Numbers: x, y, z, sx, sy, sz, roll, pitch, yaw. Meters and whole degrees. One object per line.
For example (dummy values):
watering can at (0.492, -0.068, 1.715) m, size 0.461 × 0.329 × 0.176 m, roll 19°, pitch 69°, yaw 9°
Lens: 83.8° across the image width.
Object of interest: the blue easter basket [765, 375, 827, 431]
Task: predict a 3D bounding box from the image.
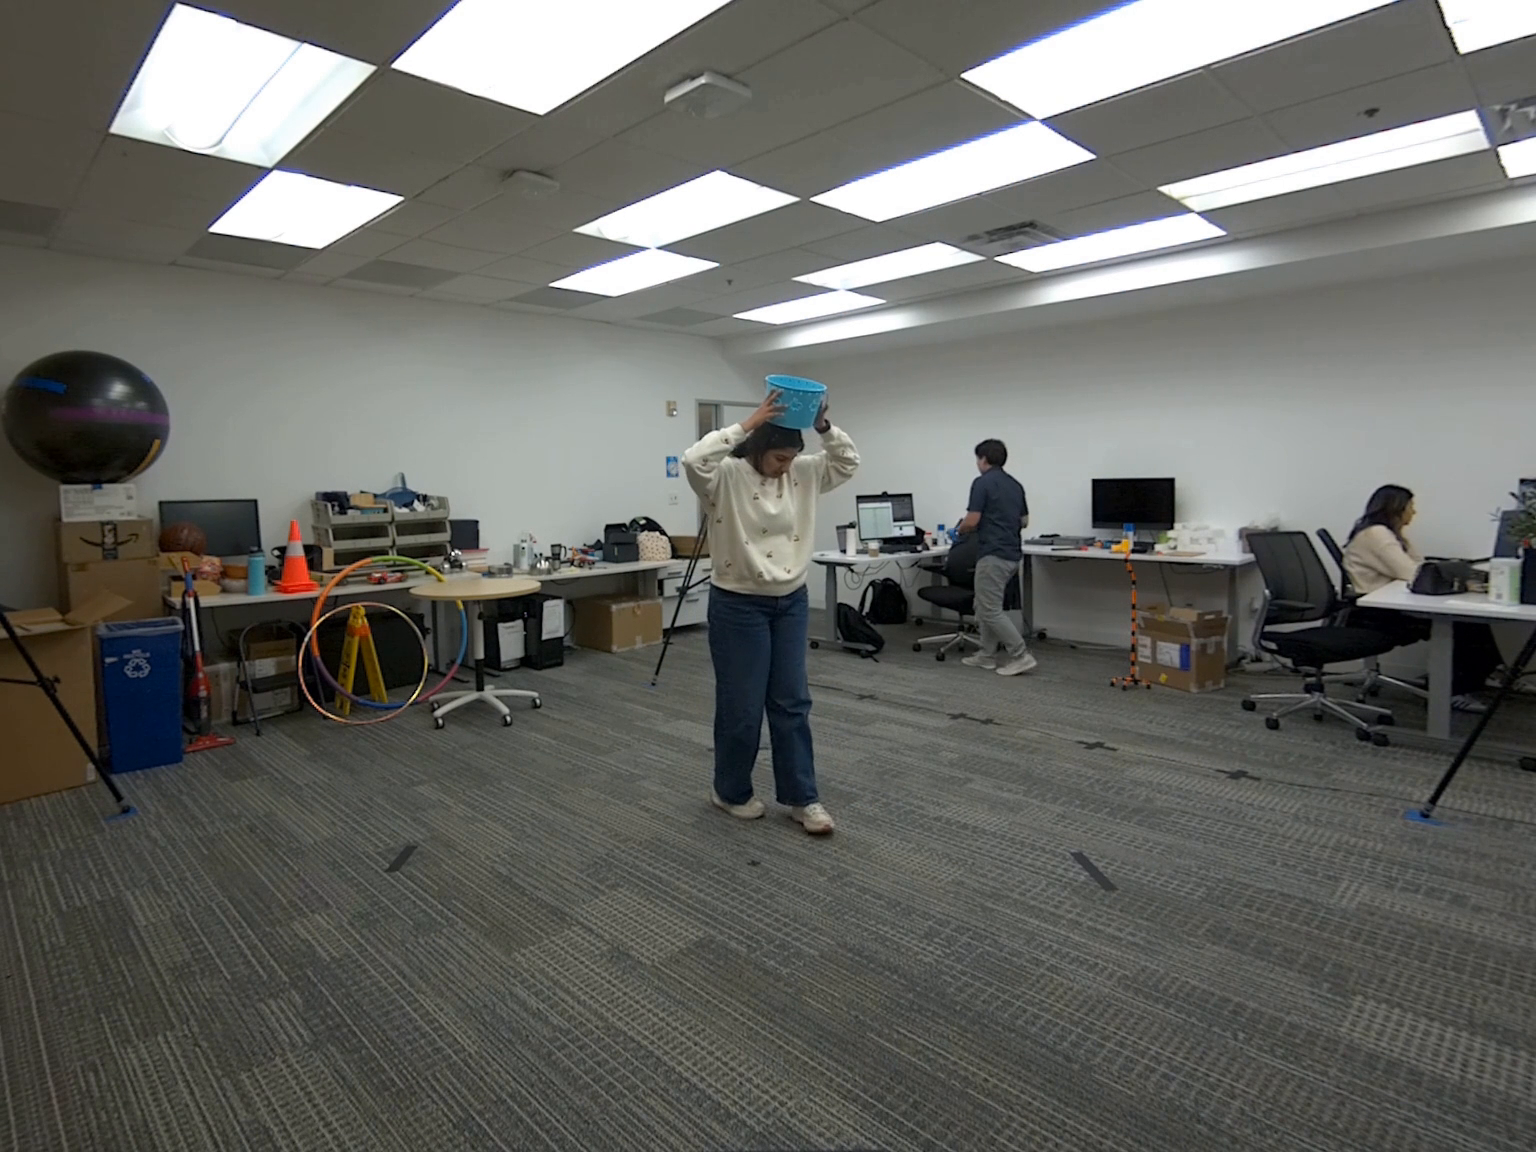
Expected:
blue easter basket at (0.101, -0.650, 3.188) m, size 0.242 × 0.153 × 0.248 m, roll 7°, pitch 23°, yaw -4°
